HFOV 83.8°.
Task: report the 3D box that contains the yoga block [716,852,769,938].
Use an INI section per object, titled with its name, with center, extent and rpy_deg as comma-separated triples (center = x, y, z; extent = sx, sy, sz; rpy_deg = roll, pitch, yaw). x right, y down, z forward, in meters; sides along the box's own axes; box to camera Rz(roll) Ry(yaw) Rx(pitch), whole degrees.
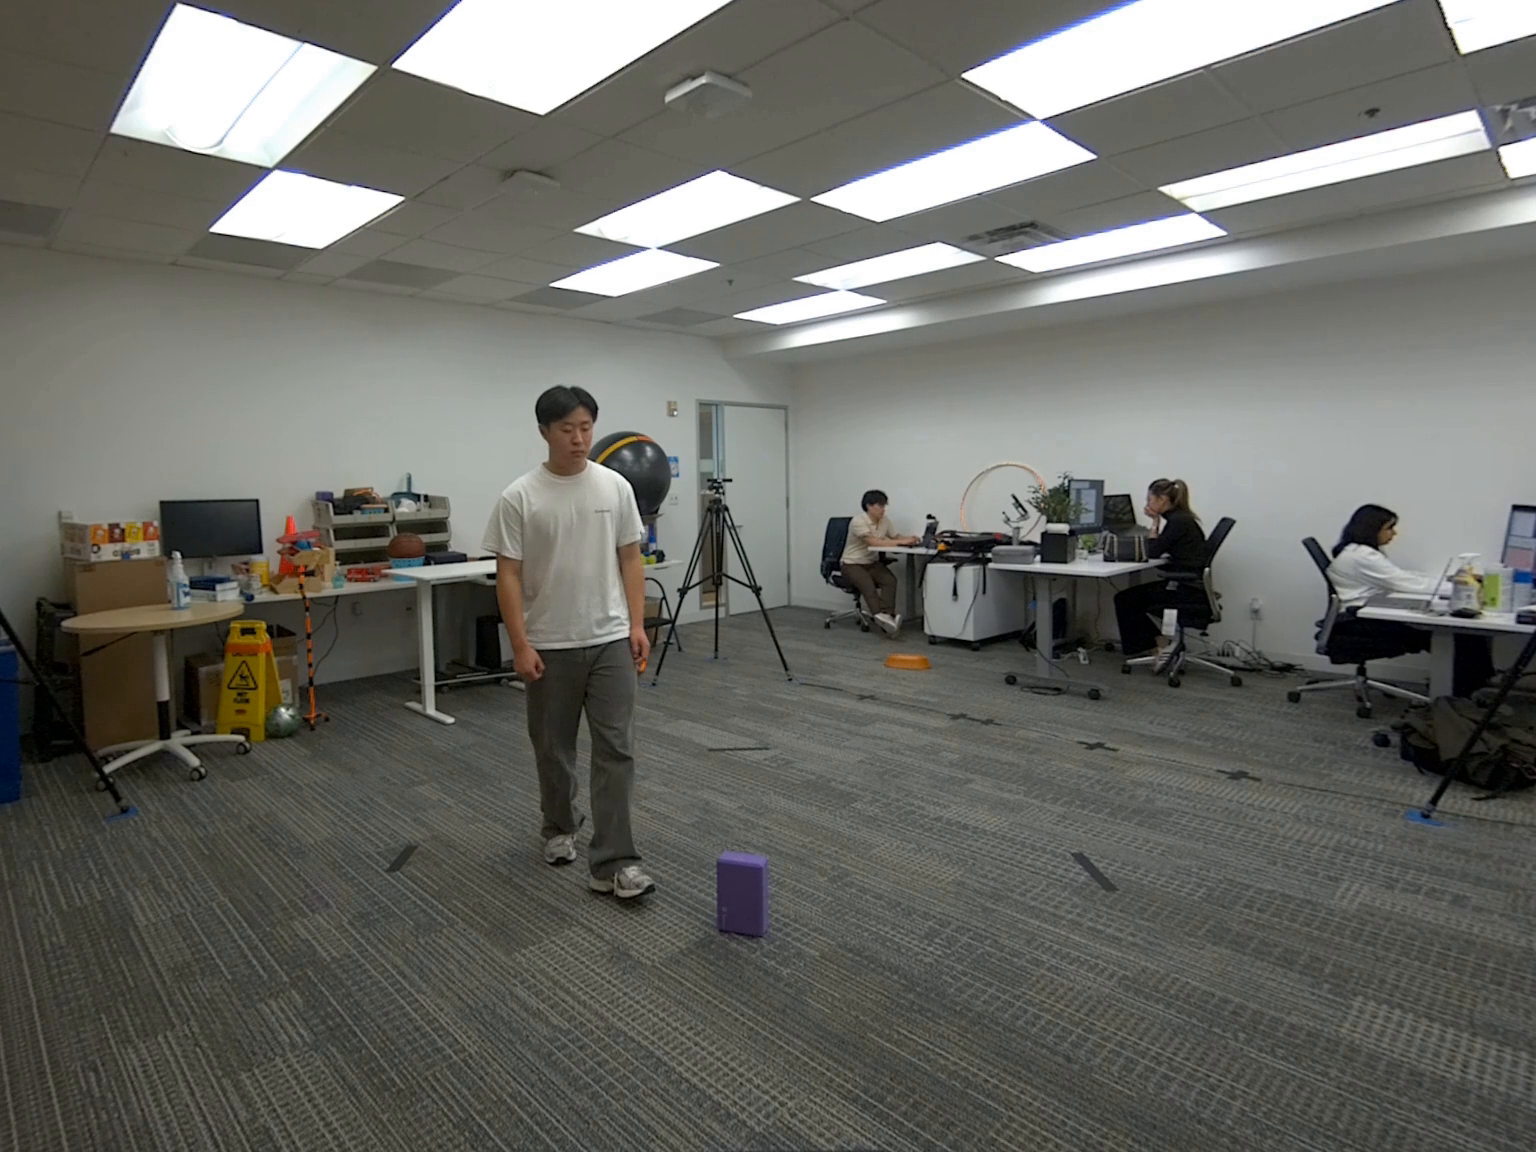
[yoga block]
center = -0.072, 0.984, 2.649
extent = 0.151, 0.228, 0.075
rpy_deg = 1, 5, 17
